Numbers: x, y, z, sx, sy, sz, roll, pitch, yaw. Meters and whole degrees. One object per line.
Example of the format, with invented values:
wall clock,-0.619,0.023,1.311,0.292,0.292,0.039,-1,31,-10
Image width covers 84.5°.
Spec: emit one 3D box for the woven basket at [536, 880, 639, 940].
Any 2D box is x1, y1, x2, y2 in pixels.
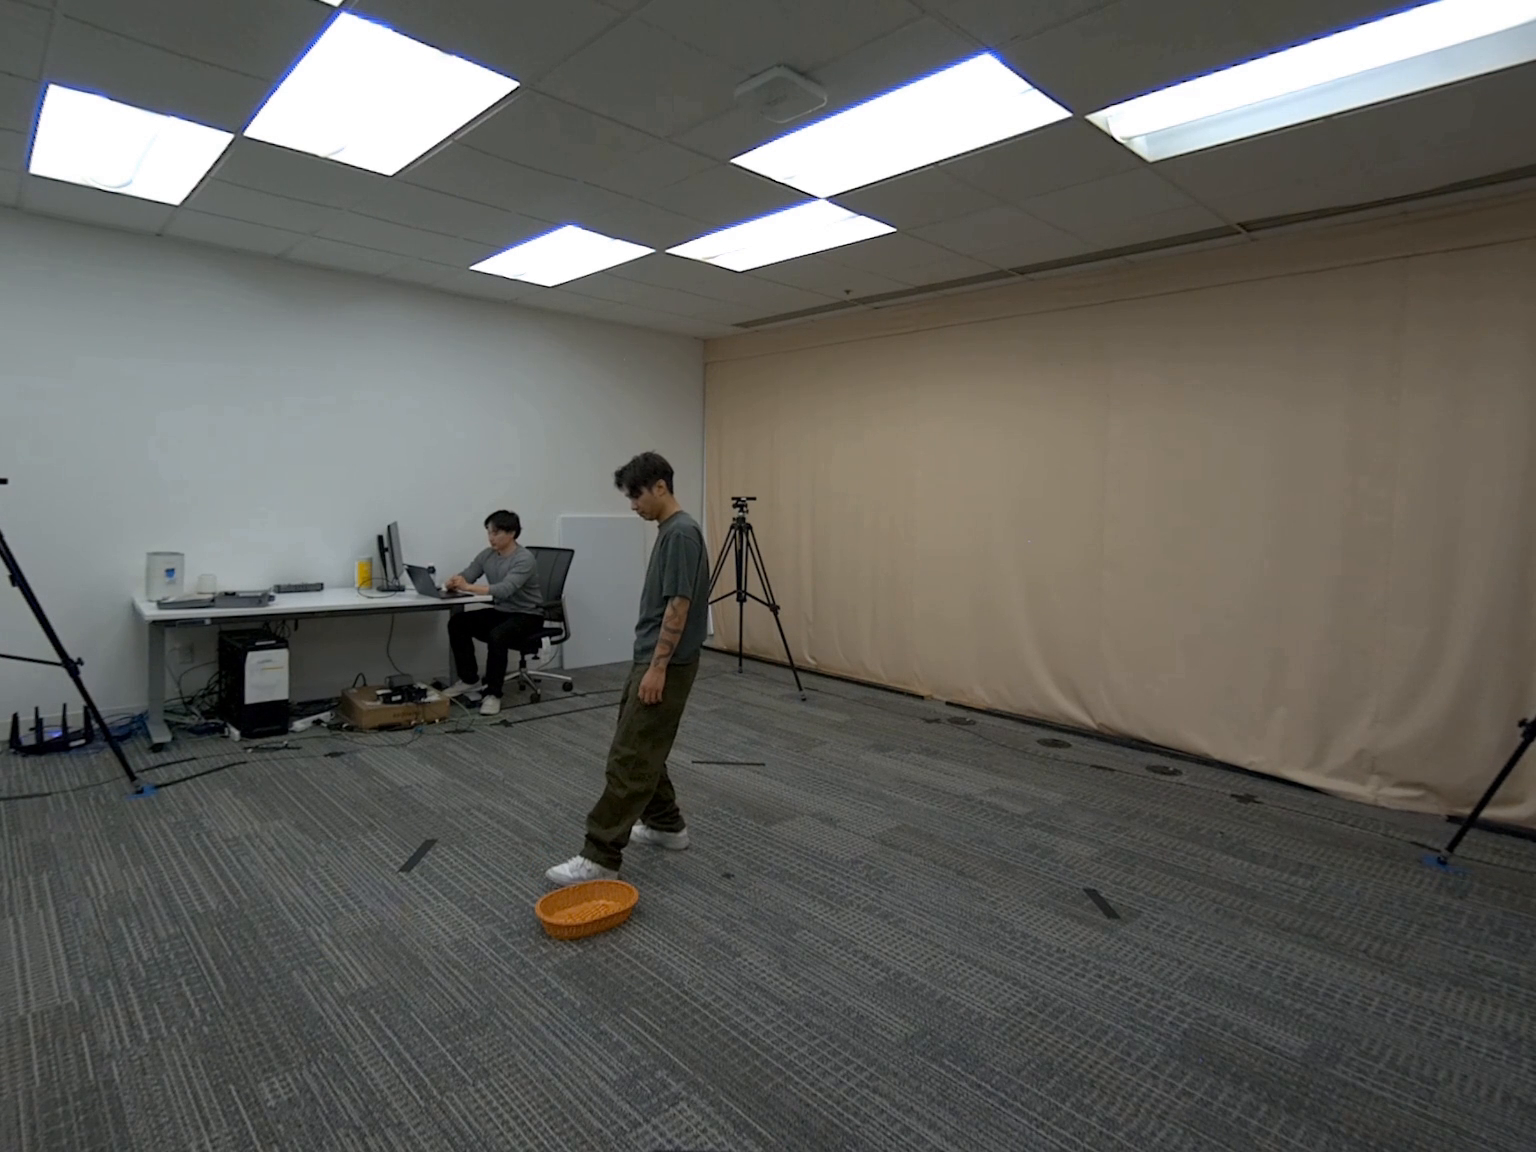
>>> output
woven basket,-0.603,1.094,2.751,0.342,0.073,0.259,-2,6,-38
